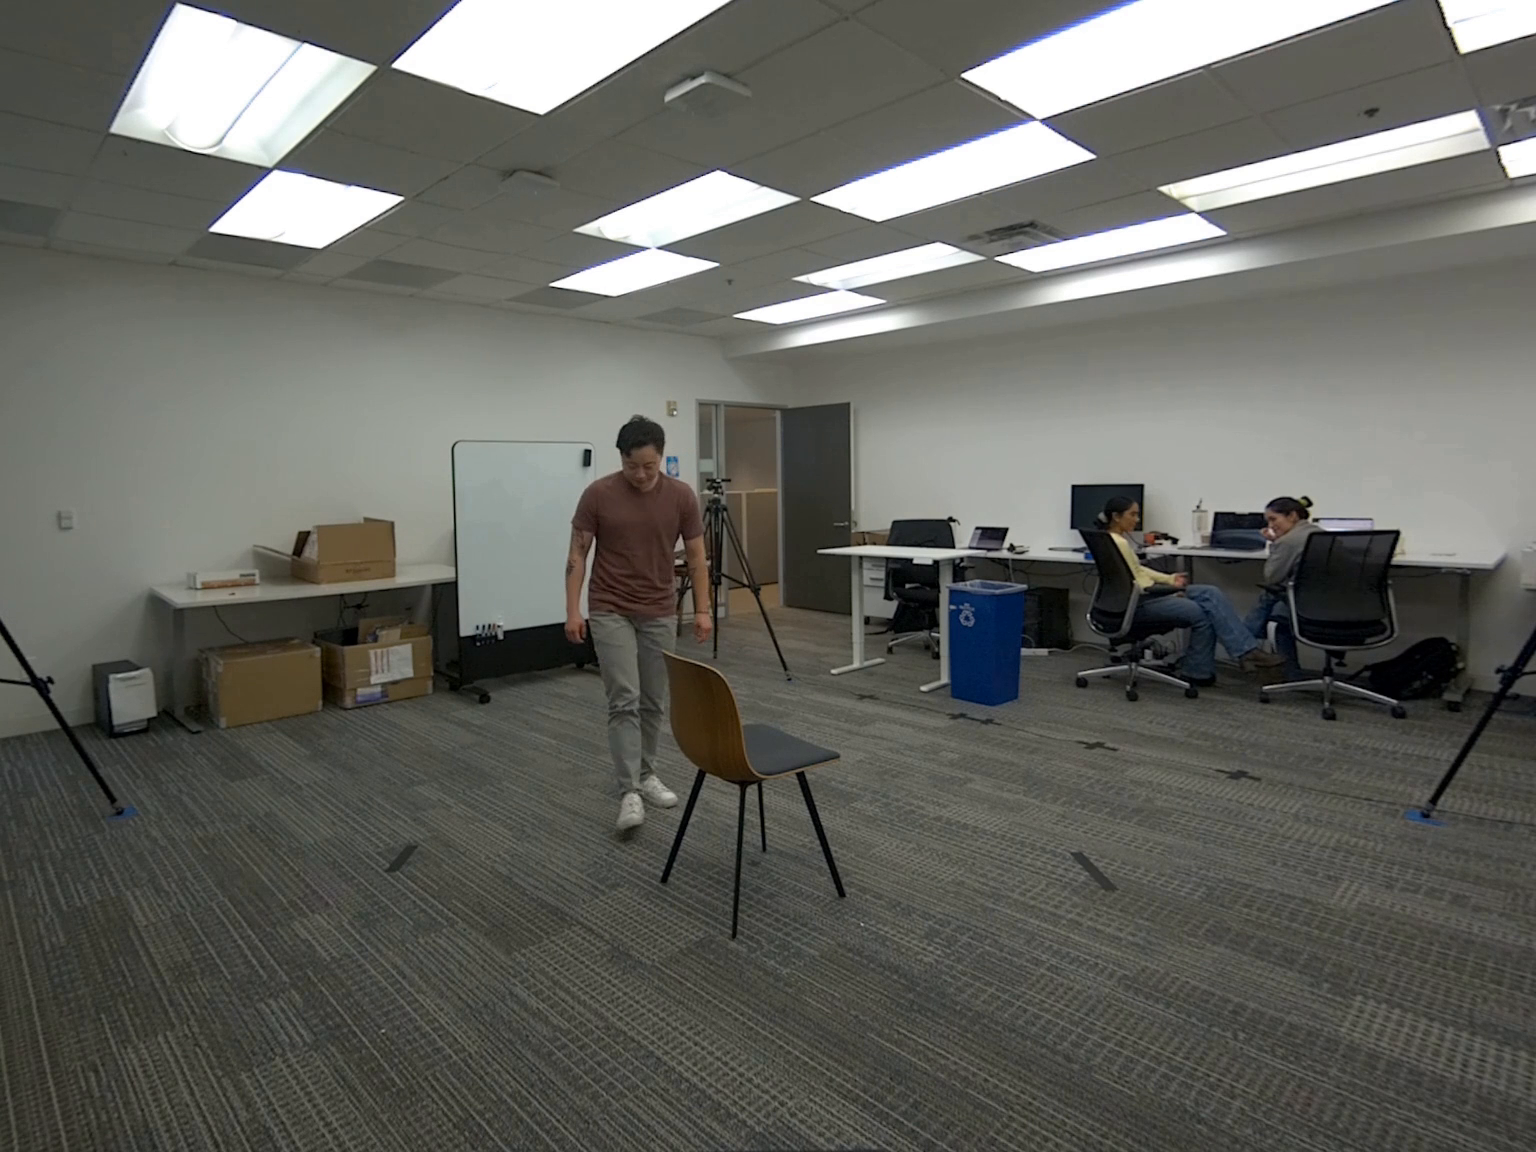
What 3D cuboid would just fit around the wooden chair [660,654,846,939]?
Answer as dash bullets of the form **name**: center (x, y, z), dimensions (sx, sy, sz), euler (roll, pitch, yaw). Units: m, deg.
- **wooden chair**: center (-0.054, 0.643, 2.876), dimensions (0.511, 0.872, 0.492), euler (-9, 8, -35)
